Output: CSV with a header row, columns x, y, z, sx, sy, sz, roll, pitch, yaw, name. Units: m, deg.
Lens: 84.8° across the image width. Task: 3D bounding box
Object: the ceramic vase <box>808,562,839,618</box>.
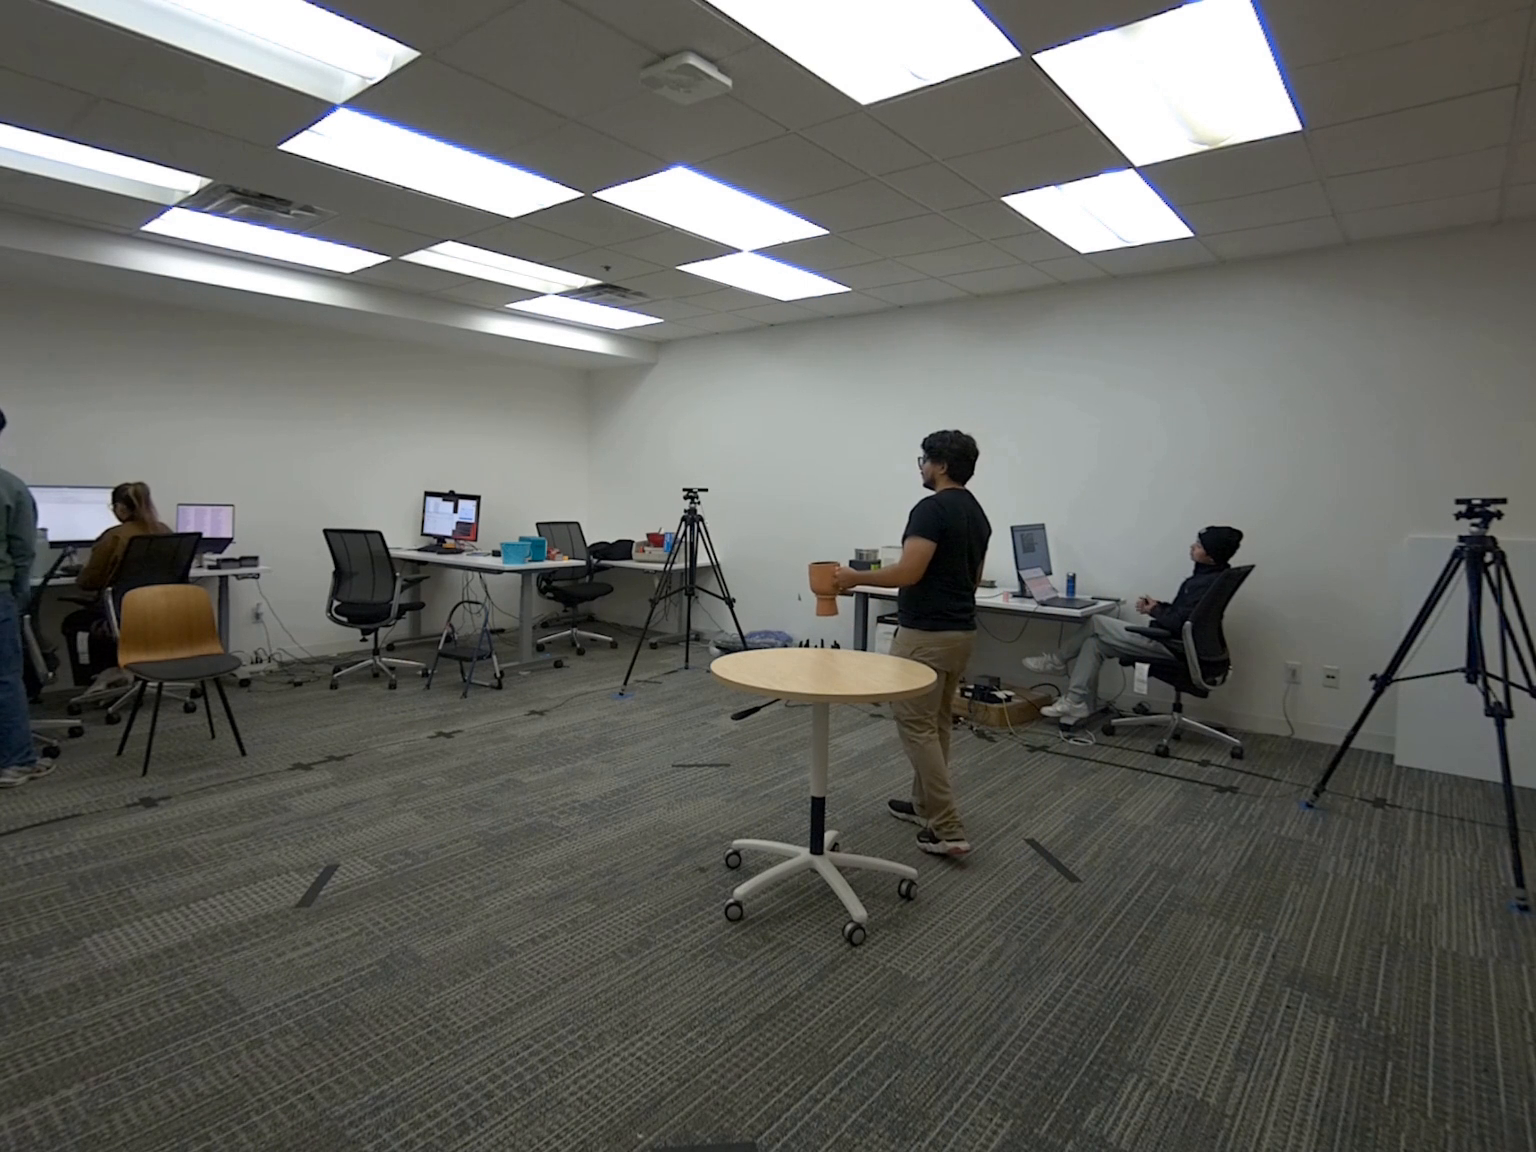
x,y,z,sx,sy,sz,roll,pitch,yaw,name
0.241,0.051,3.607,0.135,0.219,0.159,-5,4,1,ceramic vase
